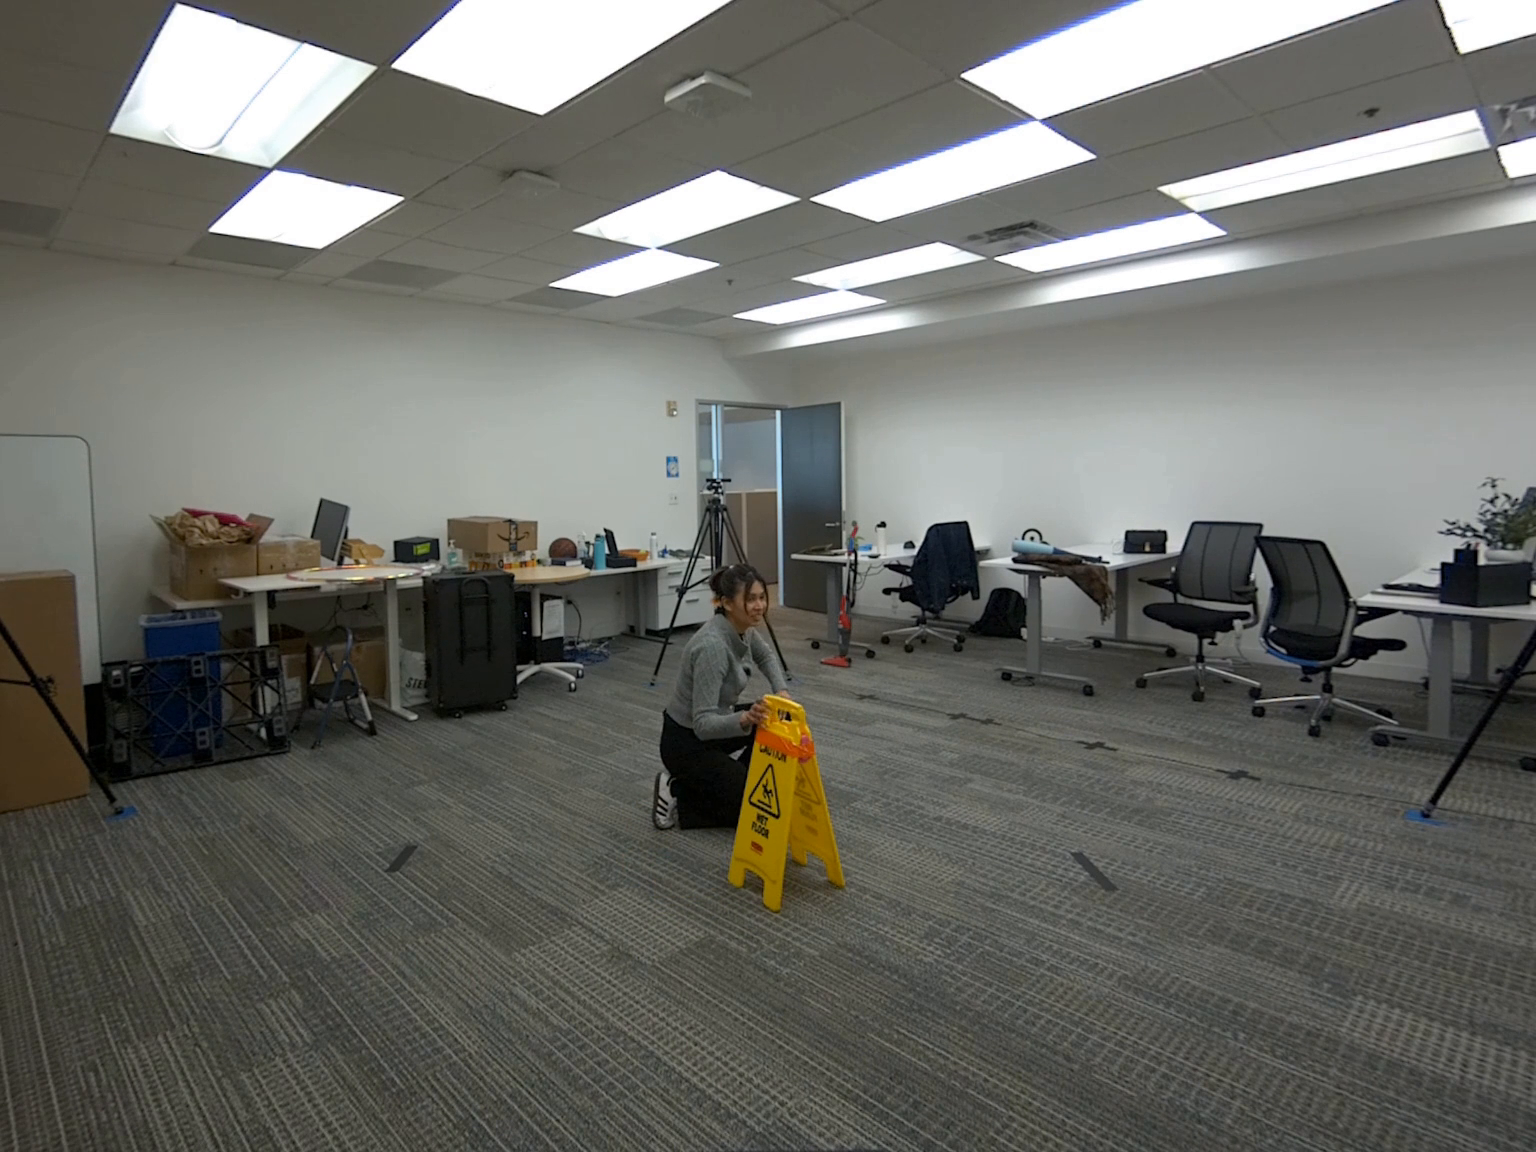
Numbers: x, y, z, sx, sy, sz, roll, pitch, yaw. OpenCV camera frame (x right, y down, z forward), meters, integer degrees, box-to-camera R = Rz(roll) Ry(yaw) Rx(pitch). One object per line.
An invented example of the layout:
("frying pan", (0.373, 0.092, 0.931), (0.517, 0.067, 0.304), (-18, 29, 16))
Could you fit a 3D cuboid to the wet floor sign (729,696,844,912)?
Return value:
("wet floor sign", (0.060, 0.741, 2.917), (0.282, 0.643, 0.291), (-5, 6, -36))
